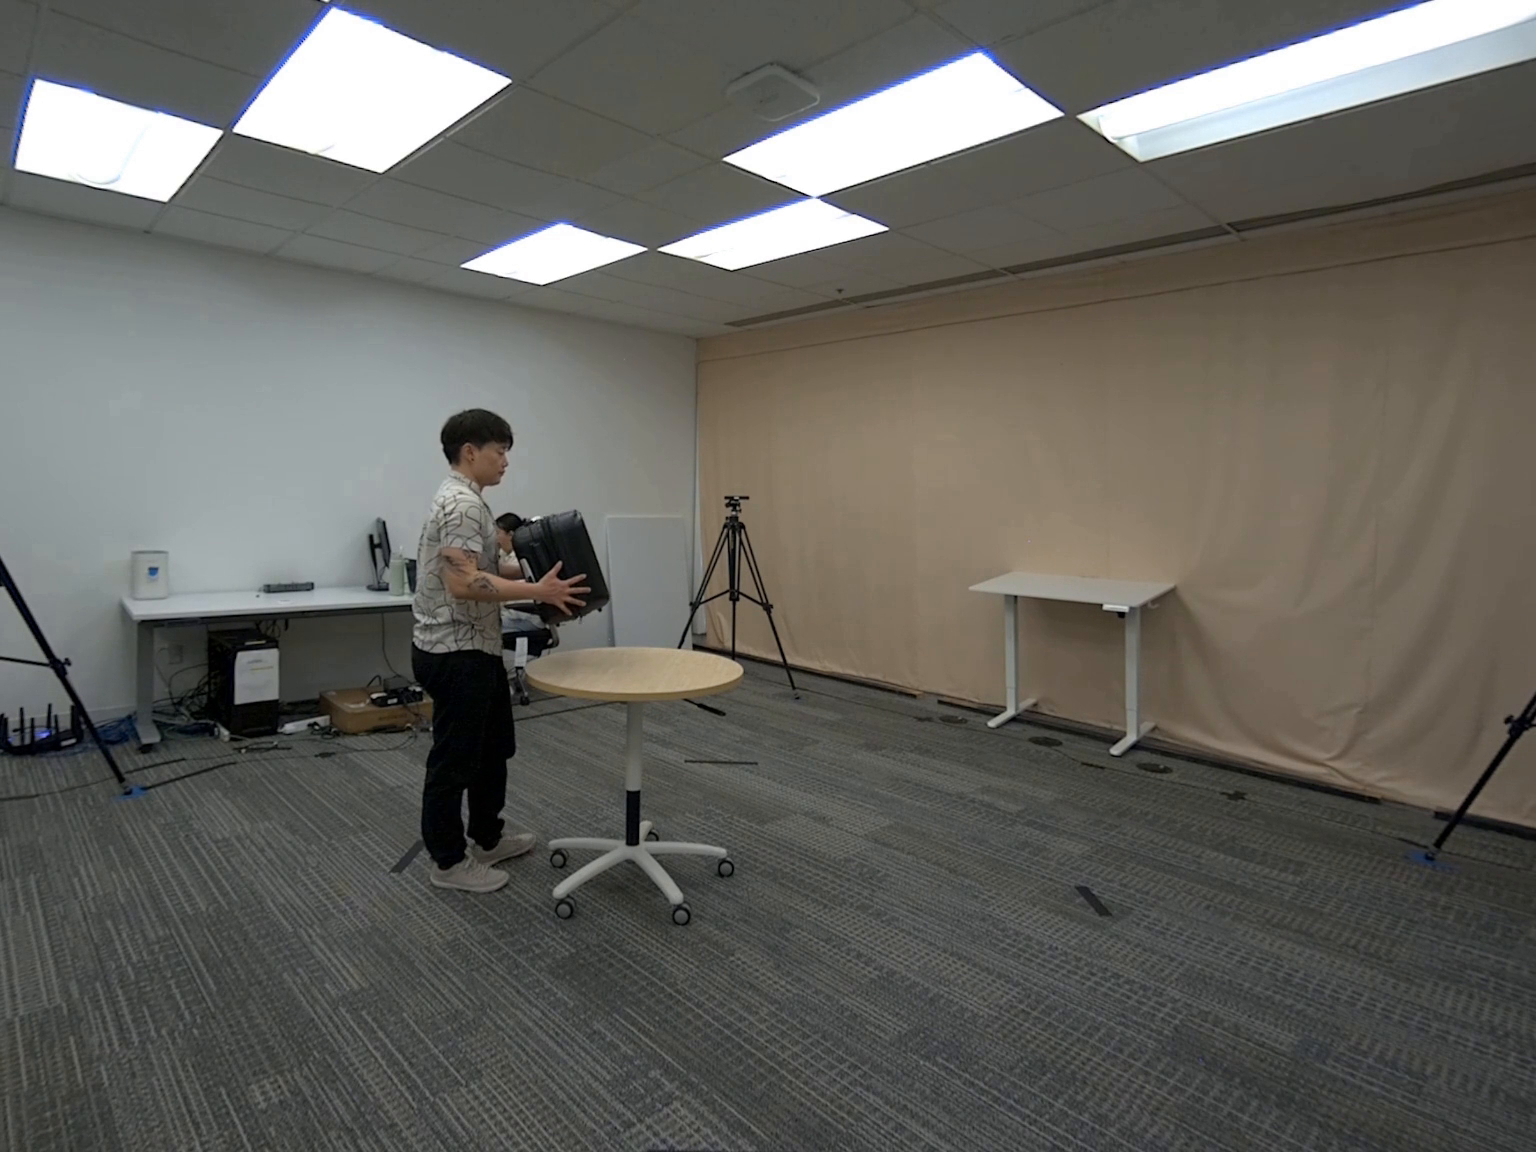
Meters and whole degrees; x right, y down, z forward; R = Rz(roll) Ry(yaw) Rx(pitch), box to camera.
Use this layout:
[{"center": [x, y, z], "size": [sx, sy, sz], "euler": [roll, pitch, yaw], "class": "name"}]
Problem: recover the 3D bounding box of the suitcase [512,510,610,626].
[{"center": [-0.754, -0.050, 3.035], "size": [0.247, 0.373, 0.556], "euler": [-19, 8, -11], "class": "suitcase"}]
